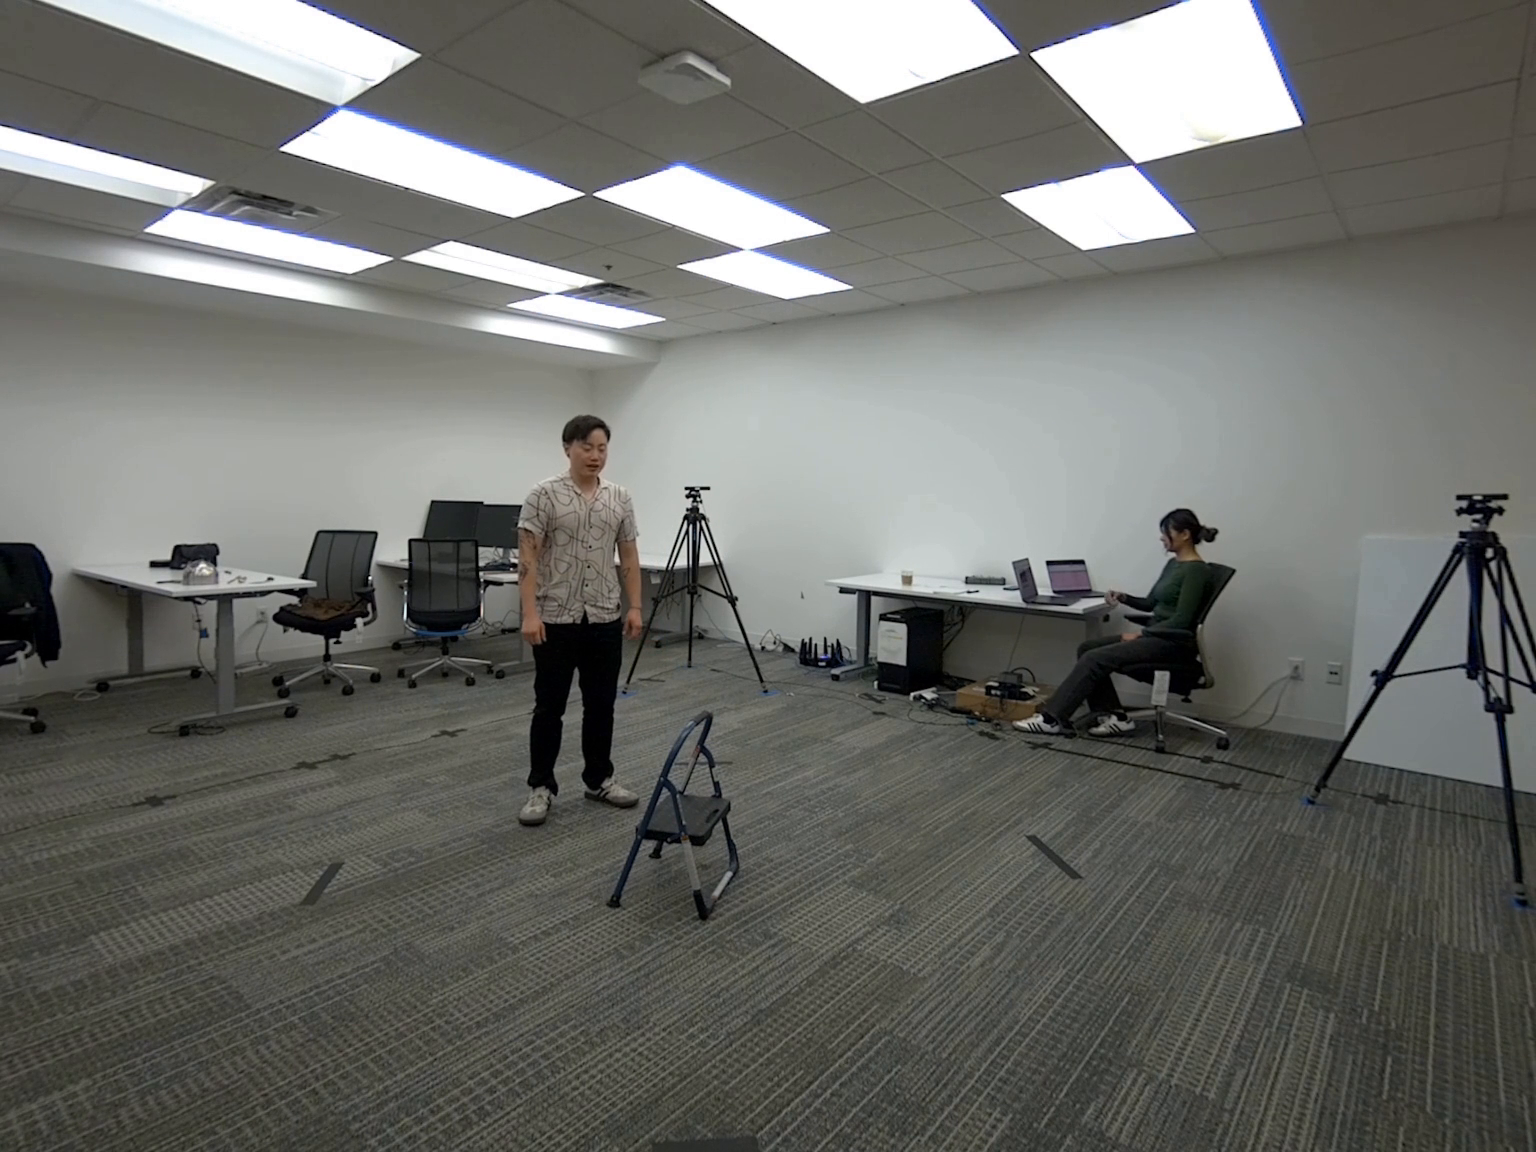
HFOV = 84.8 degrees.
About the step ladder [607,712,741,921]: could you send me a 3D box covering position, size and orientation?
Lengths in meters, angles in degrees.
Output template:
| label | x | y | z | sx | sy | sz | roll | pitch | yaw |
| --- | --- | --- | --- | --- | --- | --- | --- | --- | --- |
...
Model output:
| label | x | y | z | sx | sy | sz | roll | pitch | yaw |
| --- | --- | --- | --- | --- | --- | --- | --- | --- | --- |
| step ladder | -0.323 | 0.776 | 2.948 | 0.355 | 0.604 | 0.425 | 1 | 4 | 14 |
